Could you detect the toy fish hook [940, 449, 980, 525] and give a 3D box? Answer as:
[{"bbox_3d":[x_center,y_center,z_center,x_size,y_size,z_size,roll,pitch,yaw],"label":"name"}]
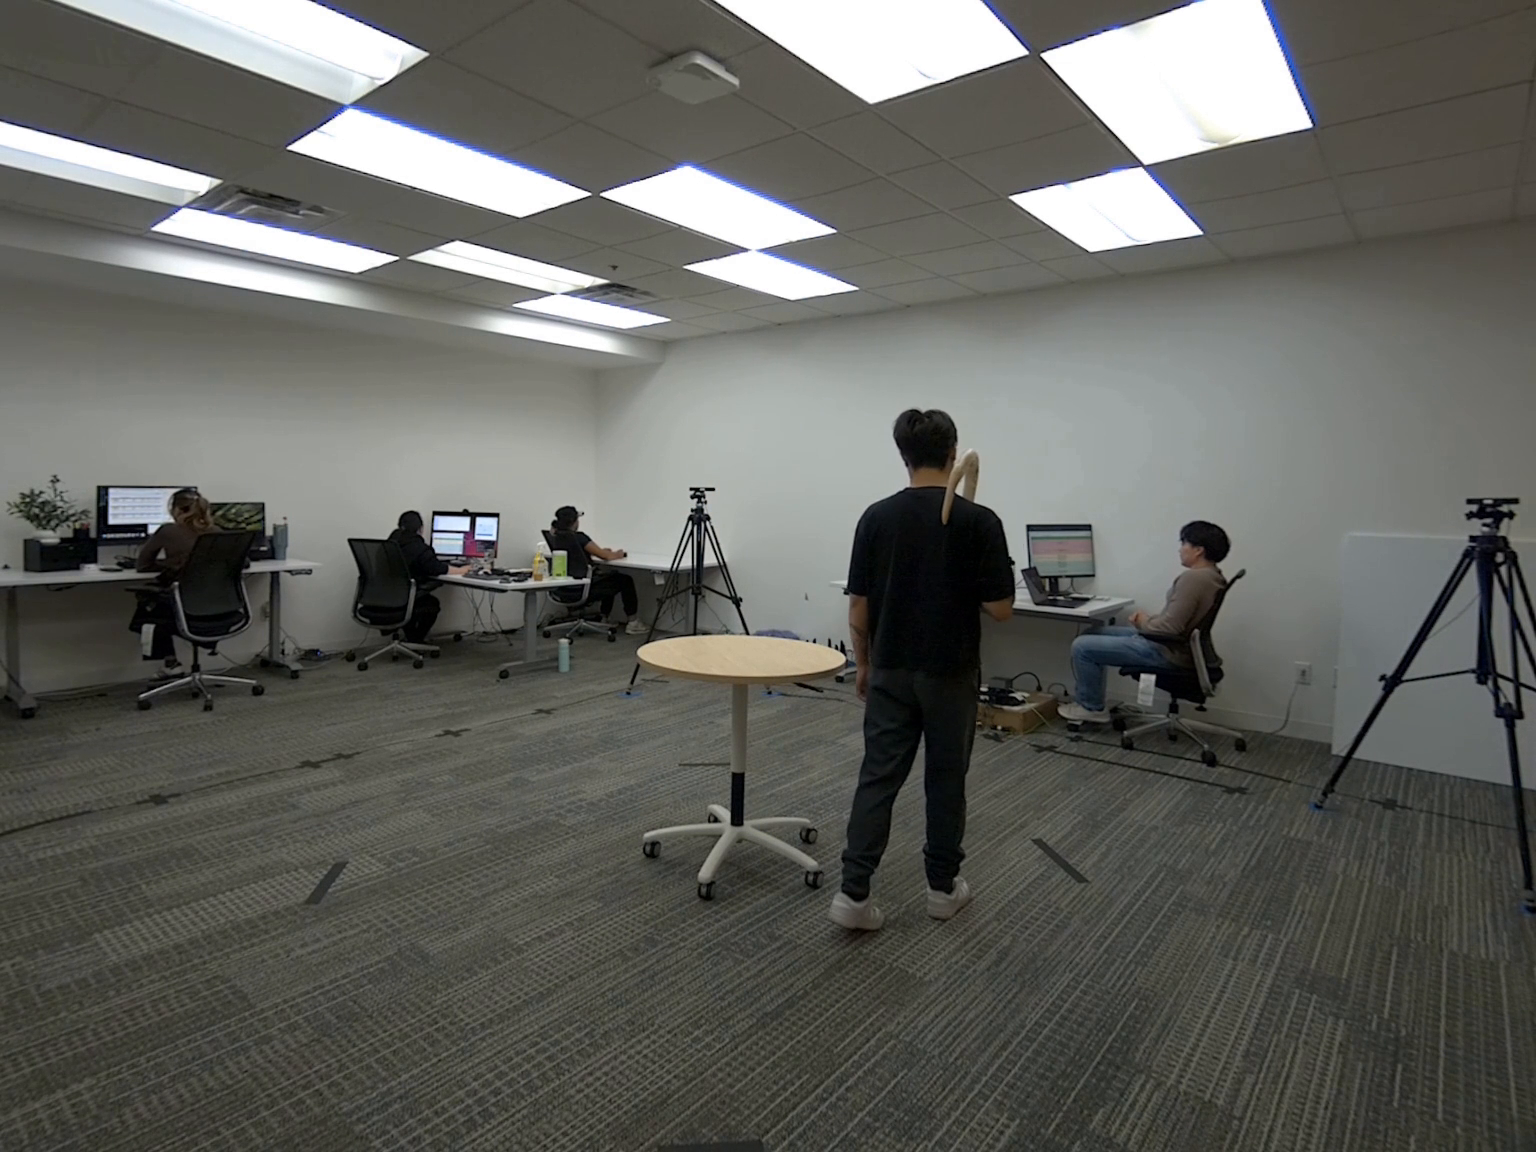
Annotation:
[{"bbox_3d":[0.606,-0.175,2.710,0.050,0.490,0.224,22,49,32],"label":"toy fish hook"}]
